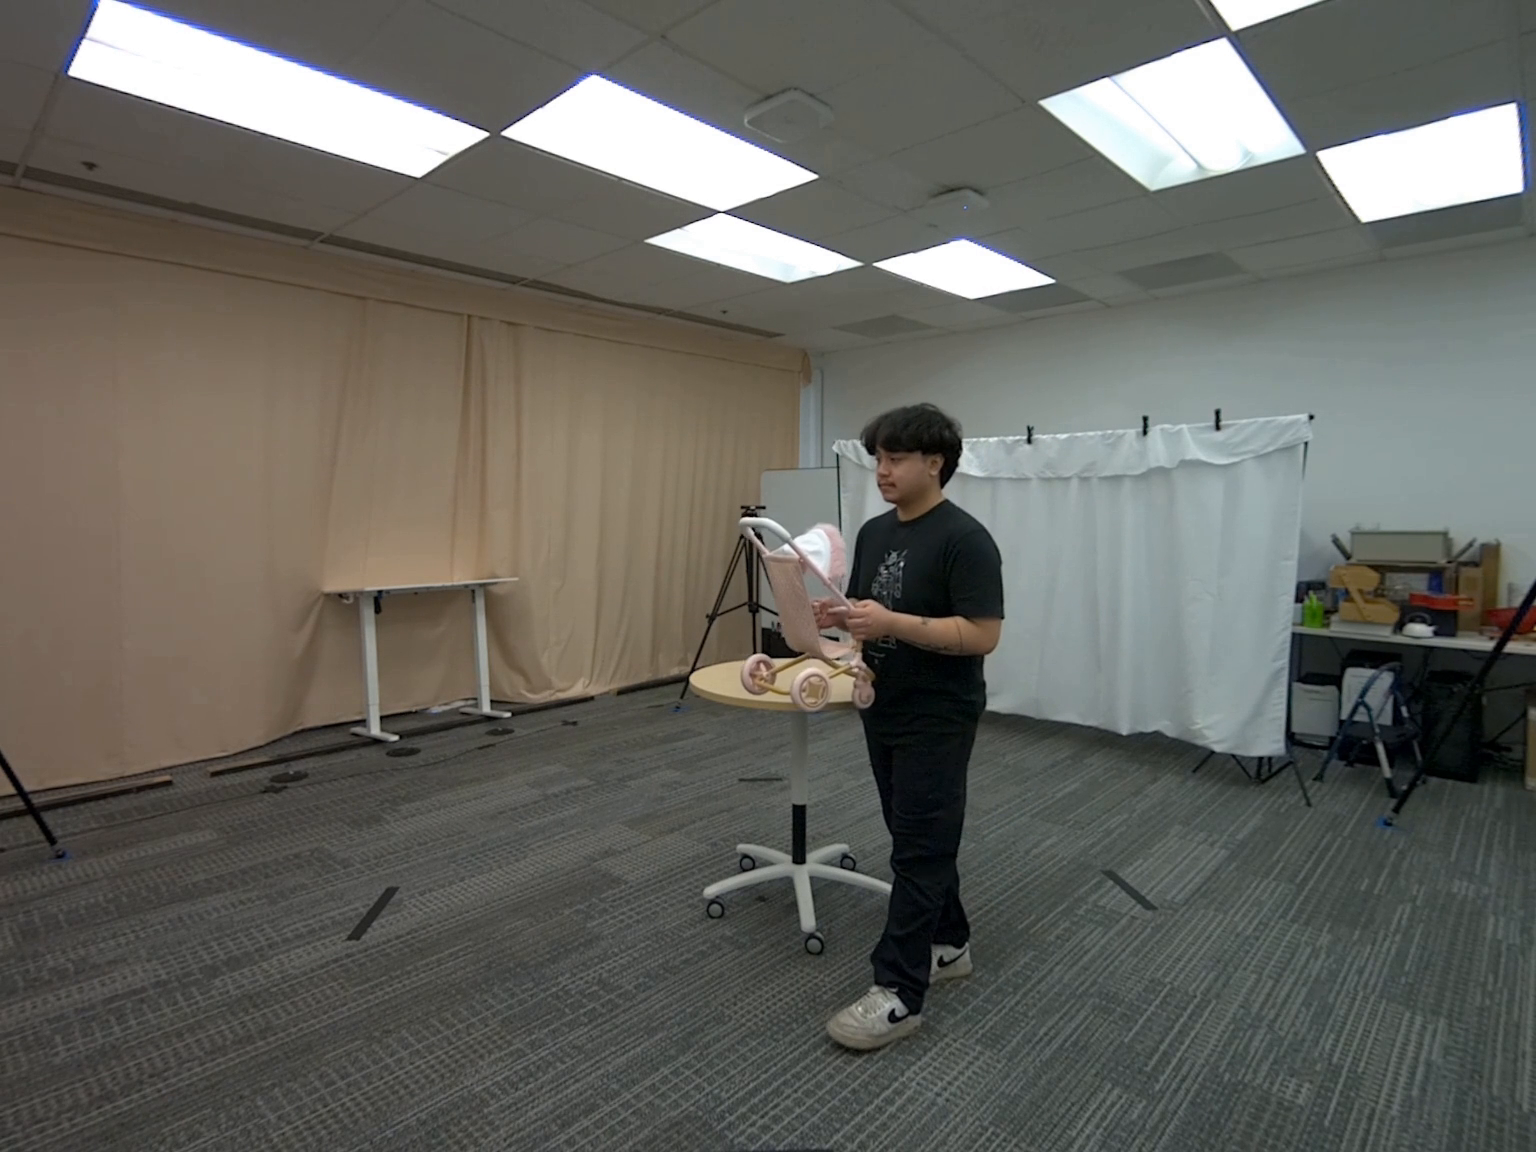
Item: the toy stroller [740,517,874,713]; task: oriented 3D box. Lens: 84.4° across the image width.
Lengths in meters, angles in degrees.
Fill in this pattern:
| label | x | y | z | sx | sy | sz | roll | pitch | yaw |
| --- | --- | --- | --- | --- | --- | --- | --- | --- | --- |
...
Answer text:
| label | x | y | z | sx | sy | sz | roll | pitch | yaw |
| --- | --- | --- | --- | --- | --- | --- | --- | --- | --- |
| toy stroller | 0.128 | 0.106 | 2.187 | 0.334 | 0.534 | 0.288 | -6 | 3 | -24 |
